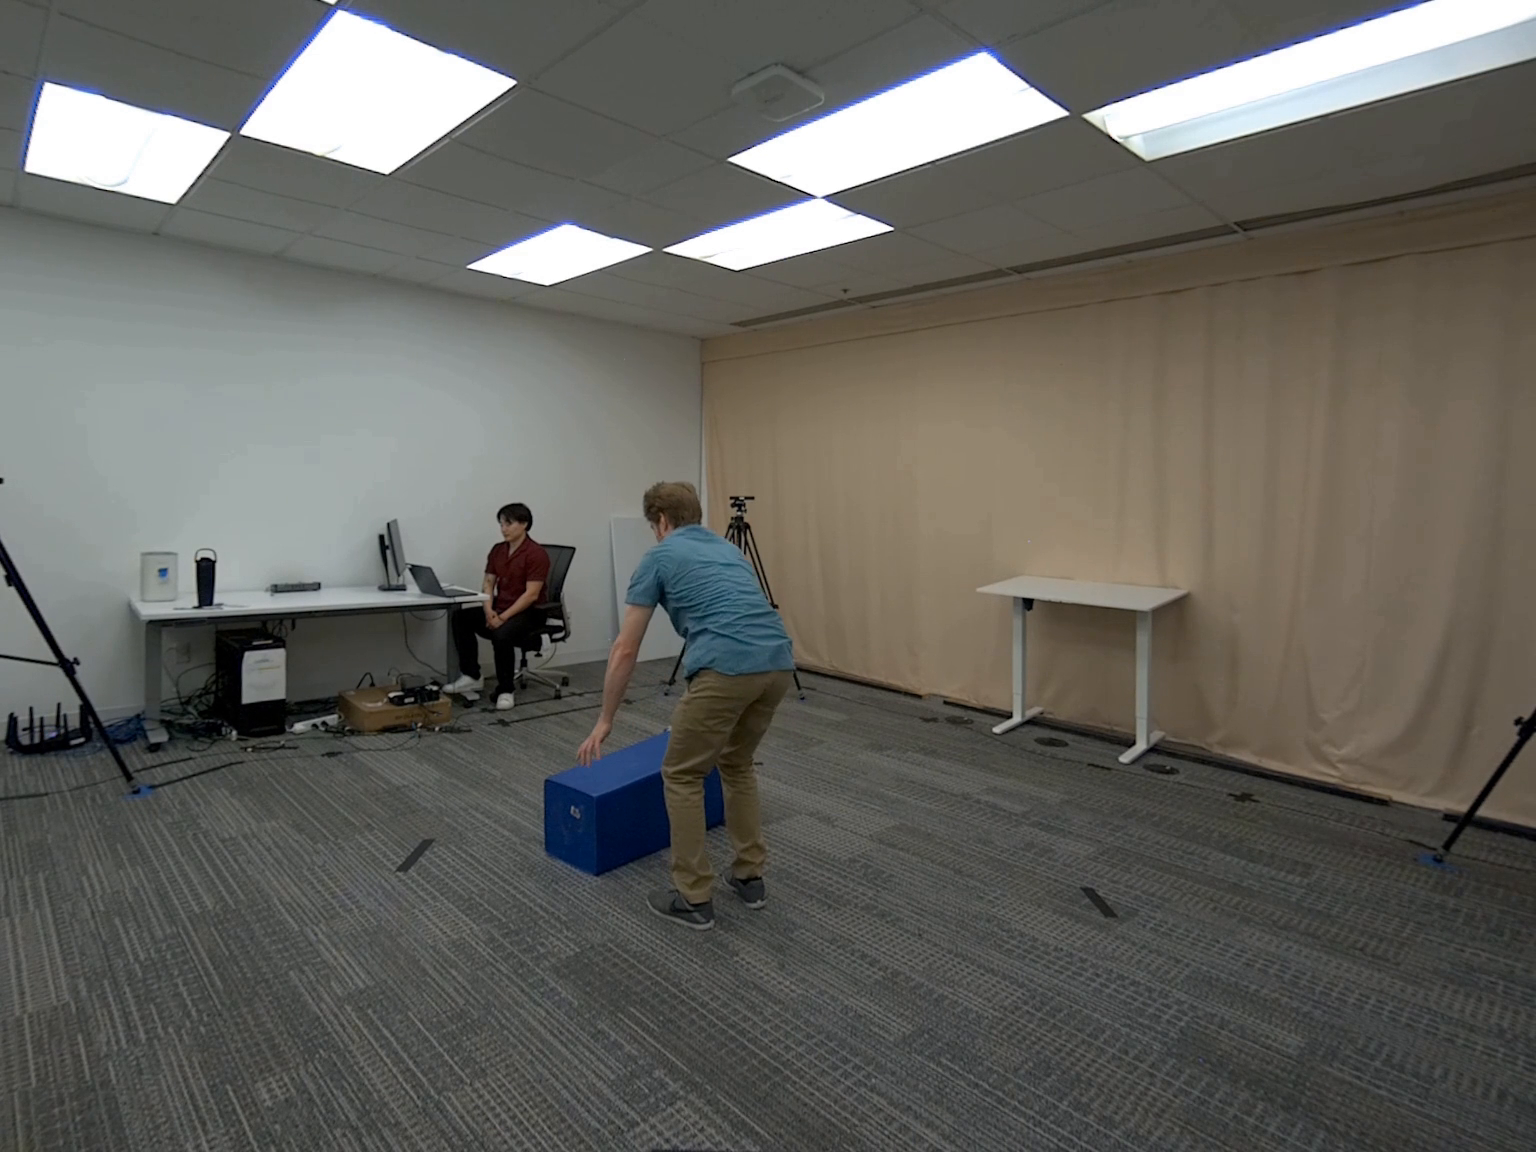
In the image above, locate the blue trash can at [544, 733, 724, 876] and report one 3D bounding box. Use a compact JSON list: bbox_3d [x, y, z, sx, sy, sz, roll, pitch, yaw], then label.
[{"bbox_3d":[-0.529,0.905,3.412,0.383,0.376,0.699,5,9,38],"label":"blue trash can"}]
